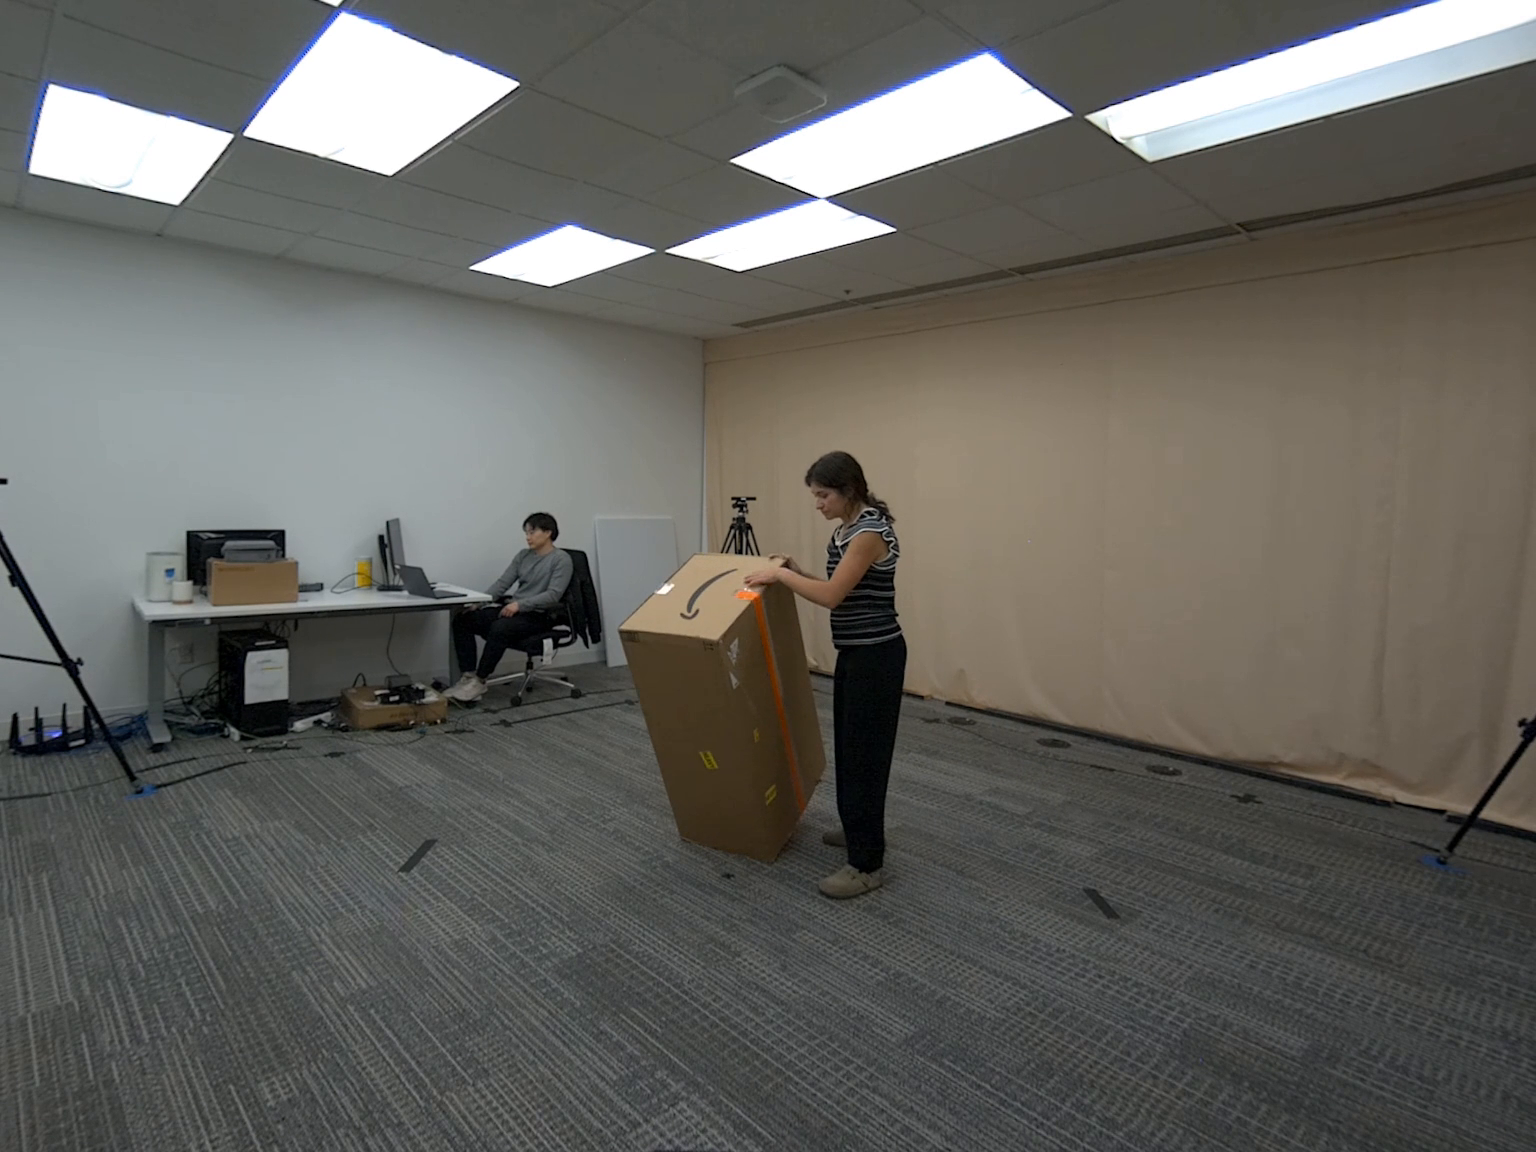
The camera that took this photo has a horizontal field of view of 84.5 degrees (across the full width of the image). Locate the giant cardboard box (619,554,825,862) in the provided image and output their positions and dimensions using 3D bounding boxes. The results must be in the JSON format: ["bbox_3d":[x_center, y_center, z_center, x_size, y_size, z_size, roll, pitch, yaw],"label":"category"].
[{"bbox_3d":[-0.143,0.507,3.325,0.435,1.005,0.577,4,29,29],"label":"giant cardboard box"}]
